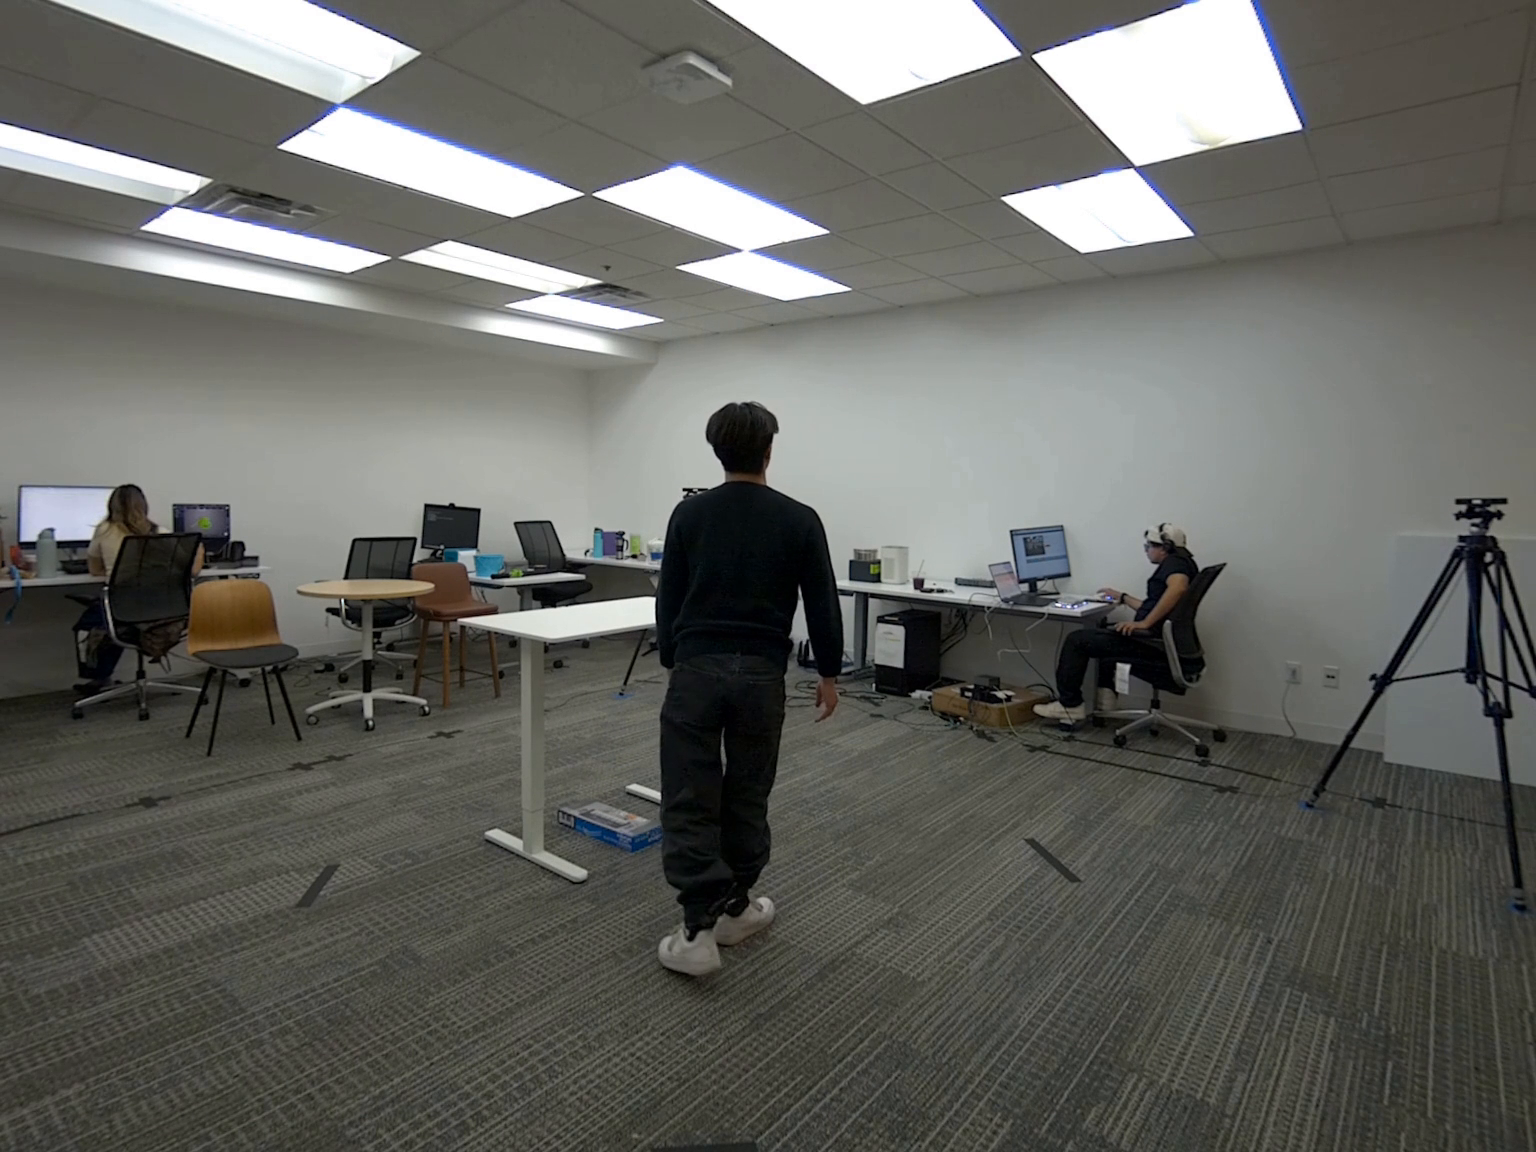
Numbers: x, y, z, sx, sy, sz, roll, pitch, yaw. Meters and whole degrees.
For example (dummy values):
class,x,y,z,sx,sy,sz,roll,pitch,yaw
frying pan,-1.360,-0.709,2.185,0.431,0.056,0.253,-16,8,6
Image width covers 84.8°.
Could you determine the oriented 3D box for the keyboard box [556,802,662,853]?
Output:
class,x,y,z,sx,sy,sz,roll,pitch,yaw
keyboard box,-0.653,1.000,3.443,0.451,0.059,0.171,6,6,38
